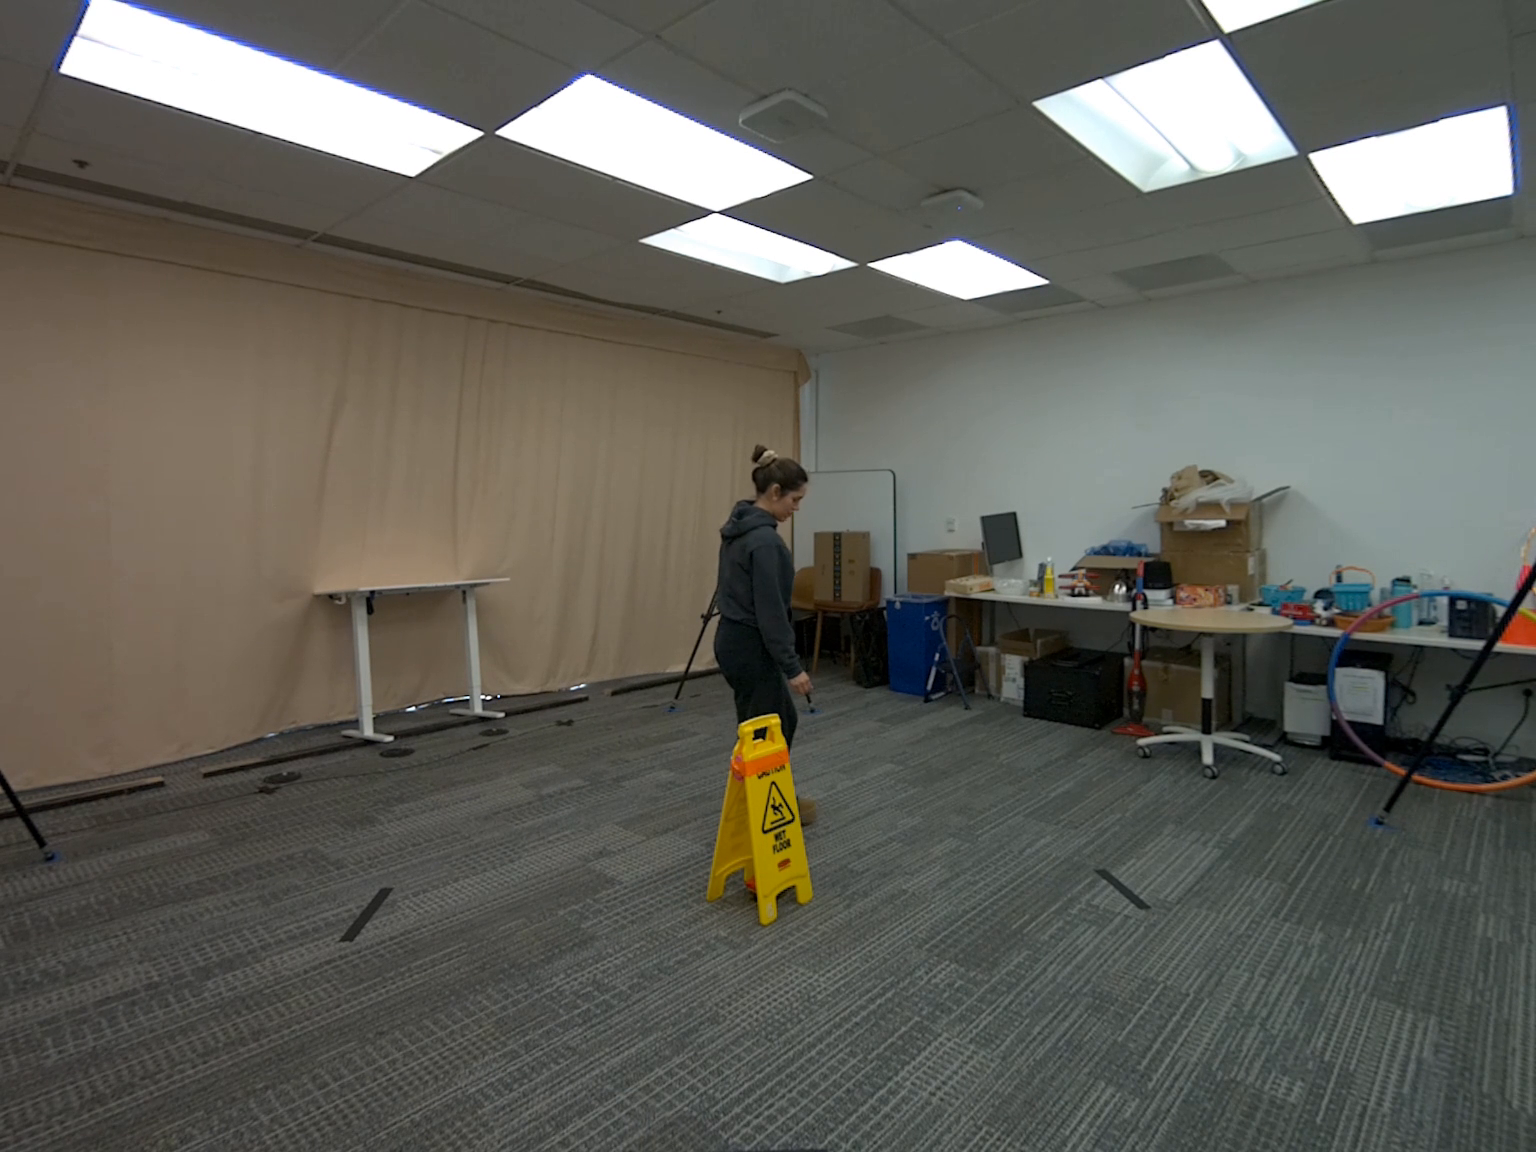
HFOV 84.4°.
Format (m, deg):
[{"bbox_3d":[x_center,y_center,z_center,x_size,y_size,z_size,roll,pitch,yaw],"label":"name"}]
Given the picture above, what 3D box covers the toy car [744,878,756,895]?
[{"bbox_3d":[0.062,1.093,3.045,0.135,0.083,0.246,5,-4,44],"label":"toy car"}]
